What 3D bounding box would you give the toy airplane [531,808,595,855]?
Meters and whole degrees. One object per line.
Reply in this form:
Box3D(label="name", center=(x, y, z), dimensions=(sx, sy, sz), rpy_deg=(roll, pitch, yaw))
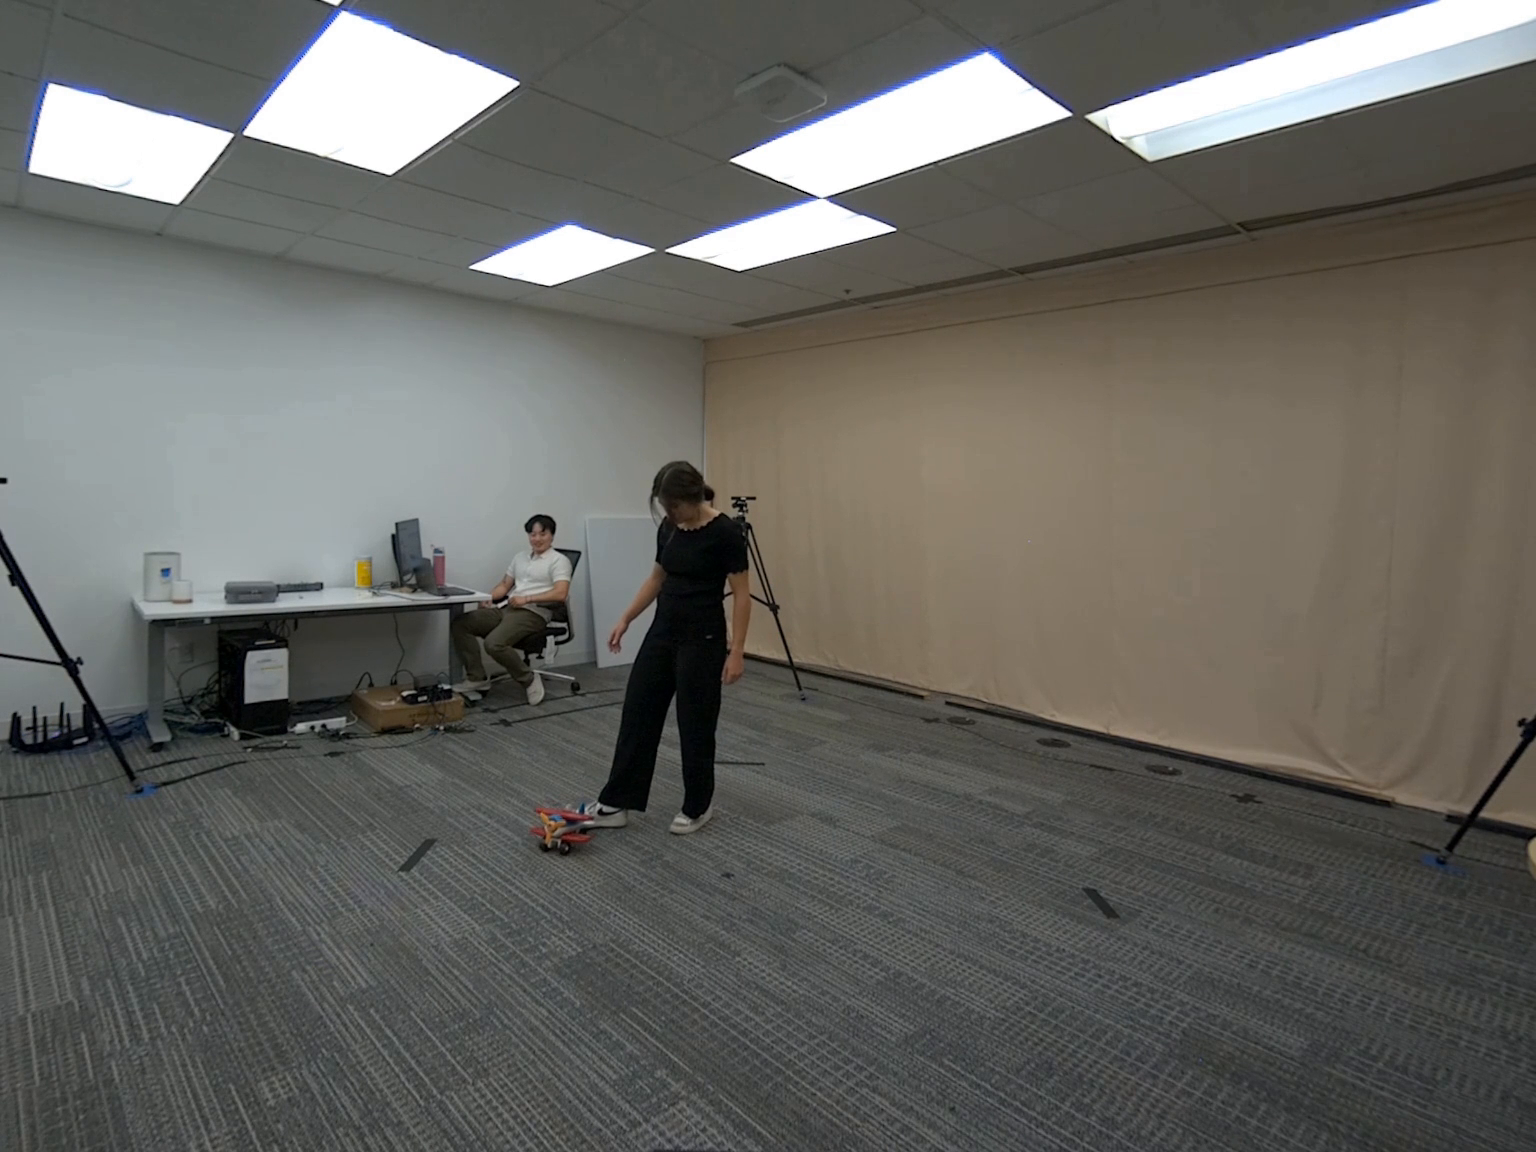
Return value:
Box3D(label="toy airplane", center=(-0.826, 0.995, 3.343), dimensions=(0.249, 0.156, 0.262), rpy_deg=(1, 6, -9))
